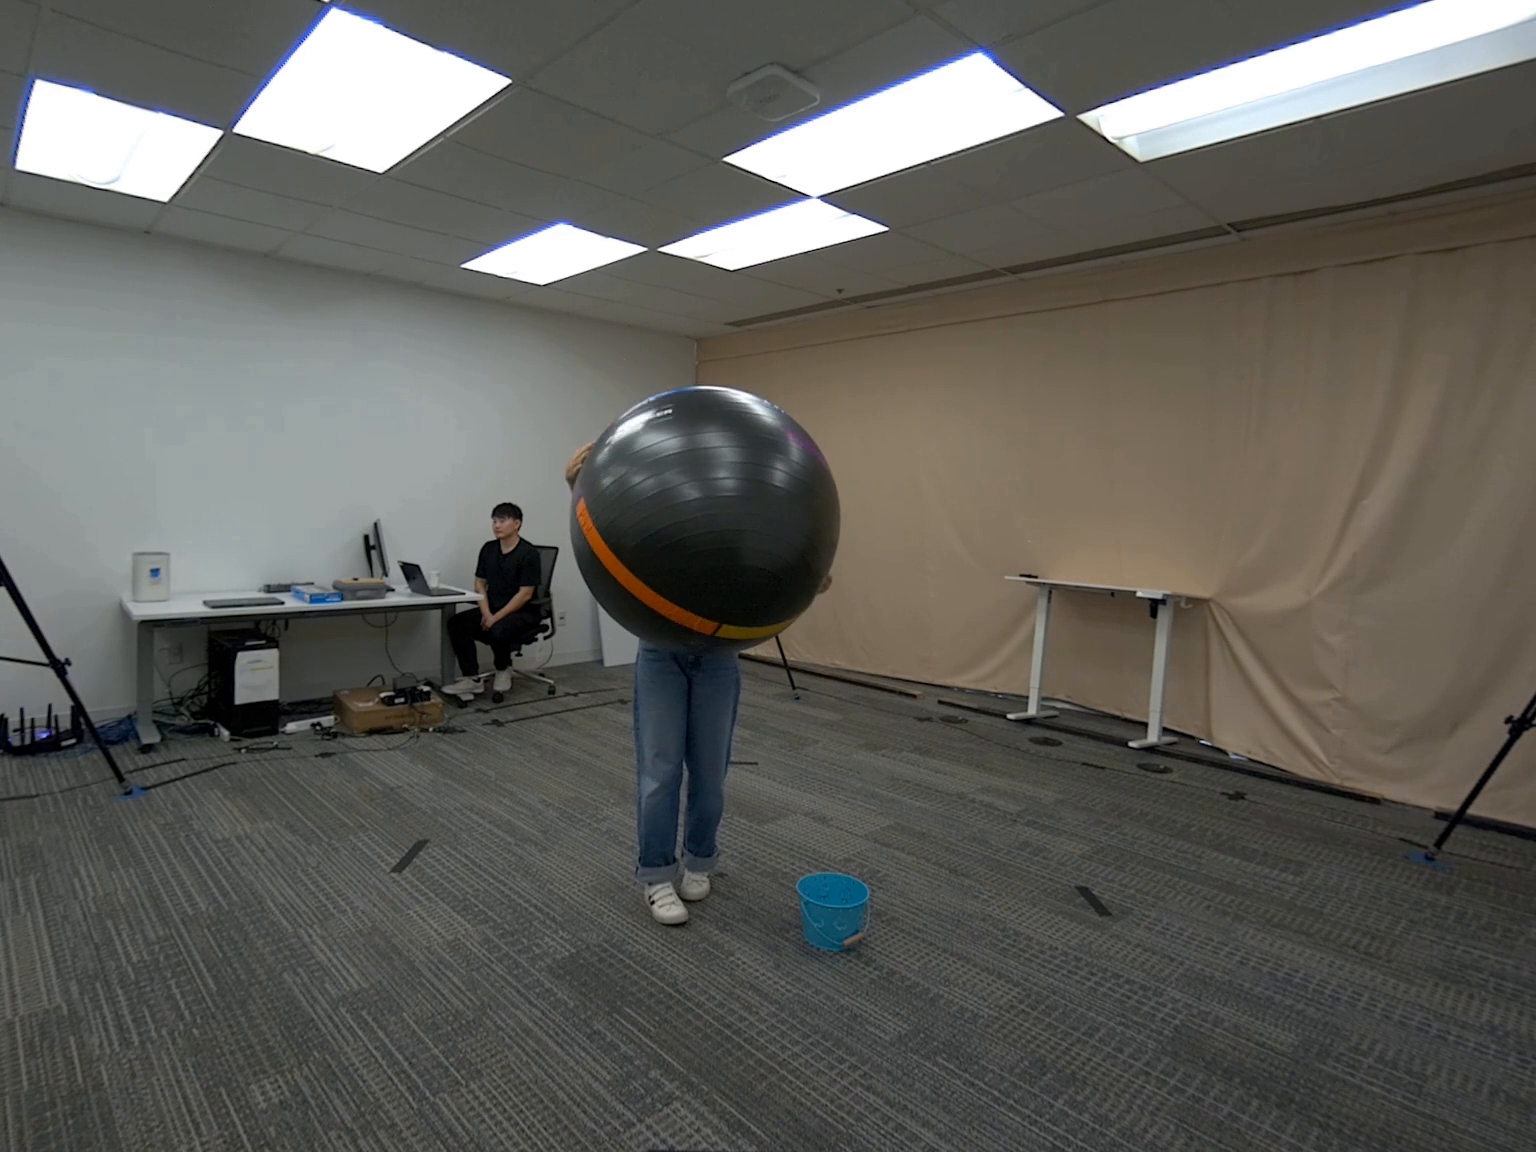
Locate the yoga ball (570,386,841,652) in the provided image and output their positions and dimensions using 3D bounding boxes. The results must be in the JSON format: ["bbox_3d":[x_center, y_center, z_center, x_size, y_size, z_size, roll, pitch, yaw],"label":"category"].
[{"bbox_3d":[-0.185,-0.149,2.383,0.757,0.756,0.761,1,4,-1],"label":"yoga ball"}]
